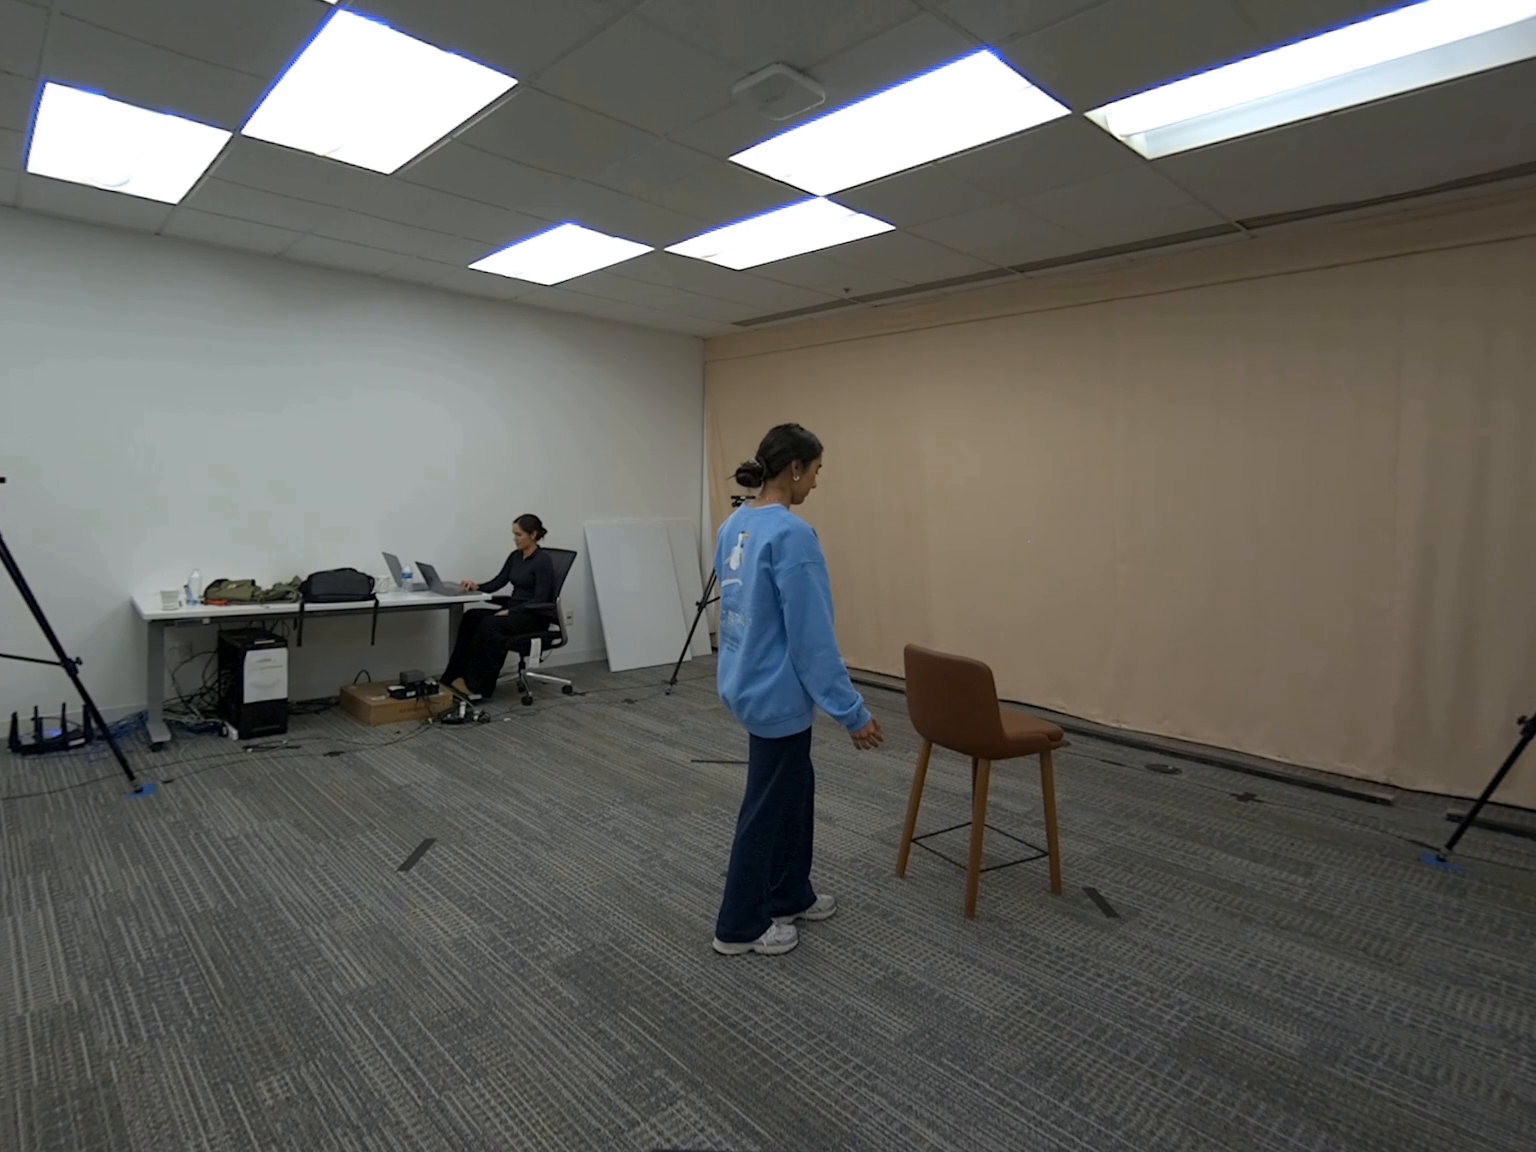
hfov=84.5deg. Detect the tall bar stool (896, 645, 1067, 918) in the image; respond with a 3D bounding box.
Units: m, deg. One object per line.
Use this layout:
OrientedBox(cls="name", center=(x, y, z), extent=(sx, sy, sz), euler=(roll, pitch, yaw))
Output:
OrientedBox(cls="tall bar stool", center=(0.754, 0.687, 3.059), extent=(0.458, 0.887, 0.467), euler=(-3, 5, -31))
